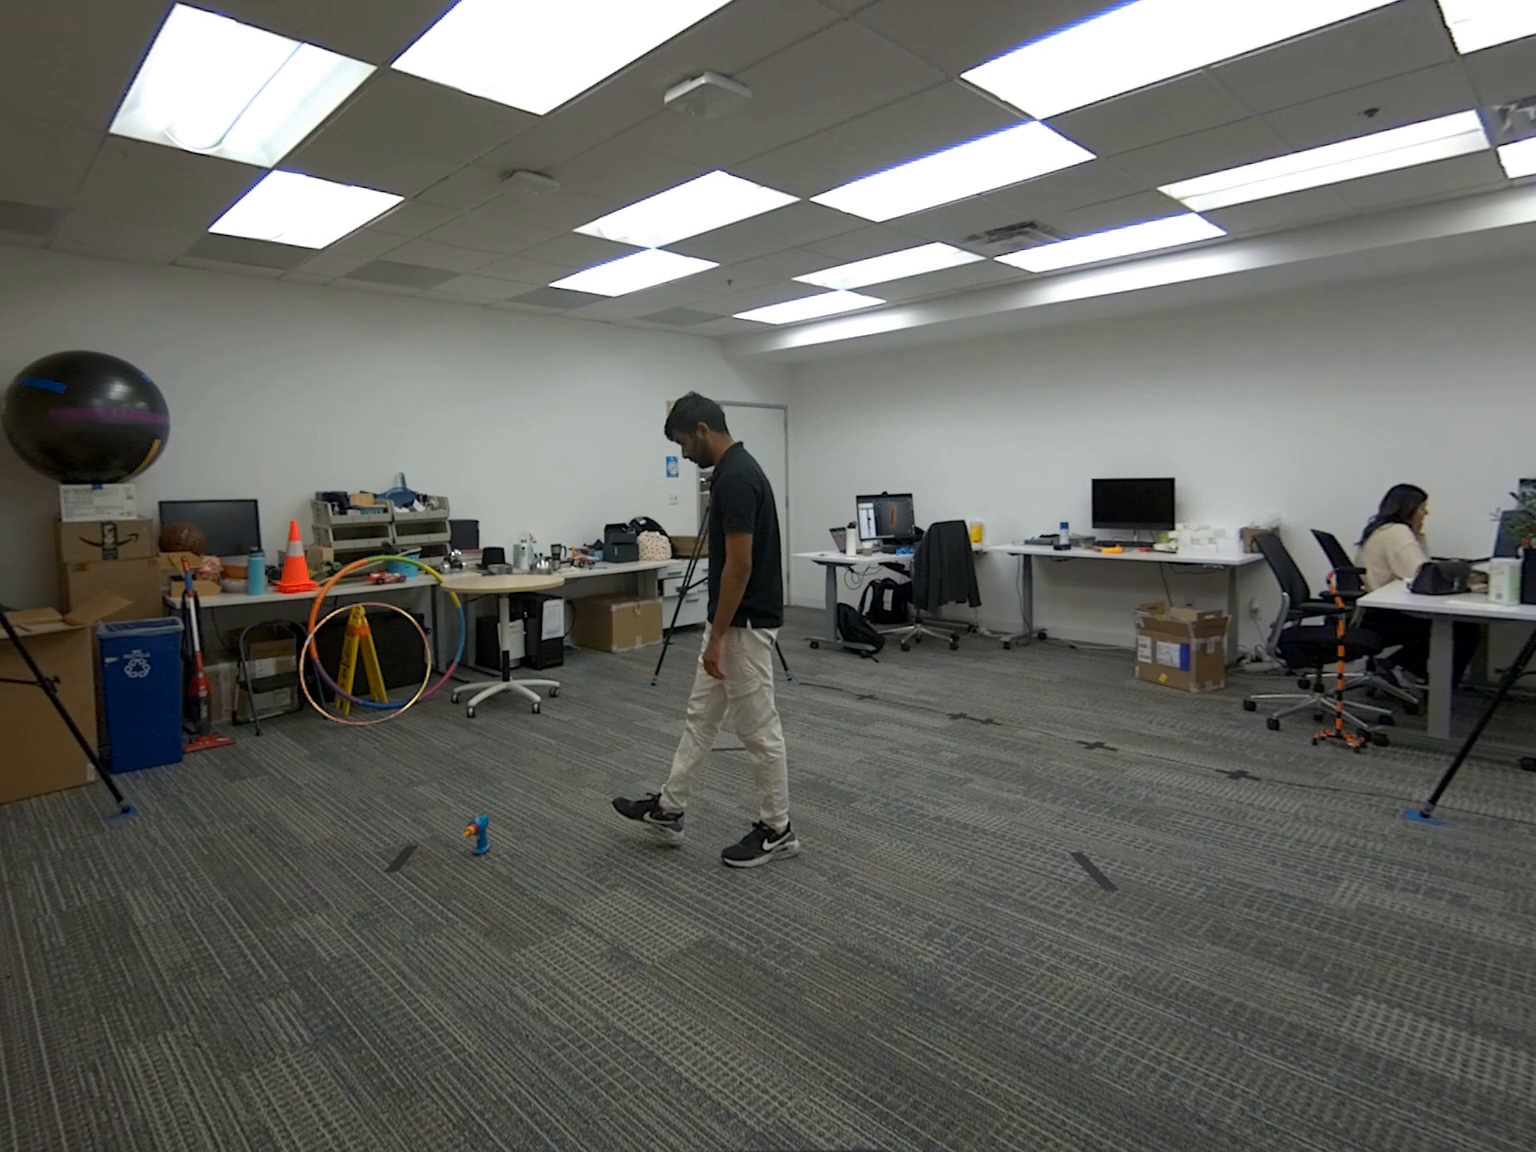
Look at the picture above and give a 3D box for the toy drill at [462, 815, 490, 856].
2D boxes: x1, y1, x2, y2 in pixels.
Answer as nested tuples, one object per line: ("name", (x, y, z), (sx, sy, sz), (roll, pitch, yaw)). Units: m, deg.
("toy drill", (-1.089, 0.983, 3.209), (0.061, 0.145, 0.169), (1, 5, 7))
